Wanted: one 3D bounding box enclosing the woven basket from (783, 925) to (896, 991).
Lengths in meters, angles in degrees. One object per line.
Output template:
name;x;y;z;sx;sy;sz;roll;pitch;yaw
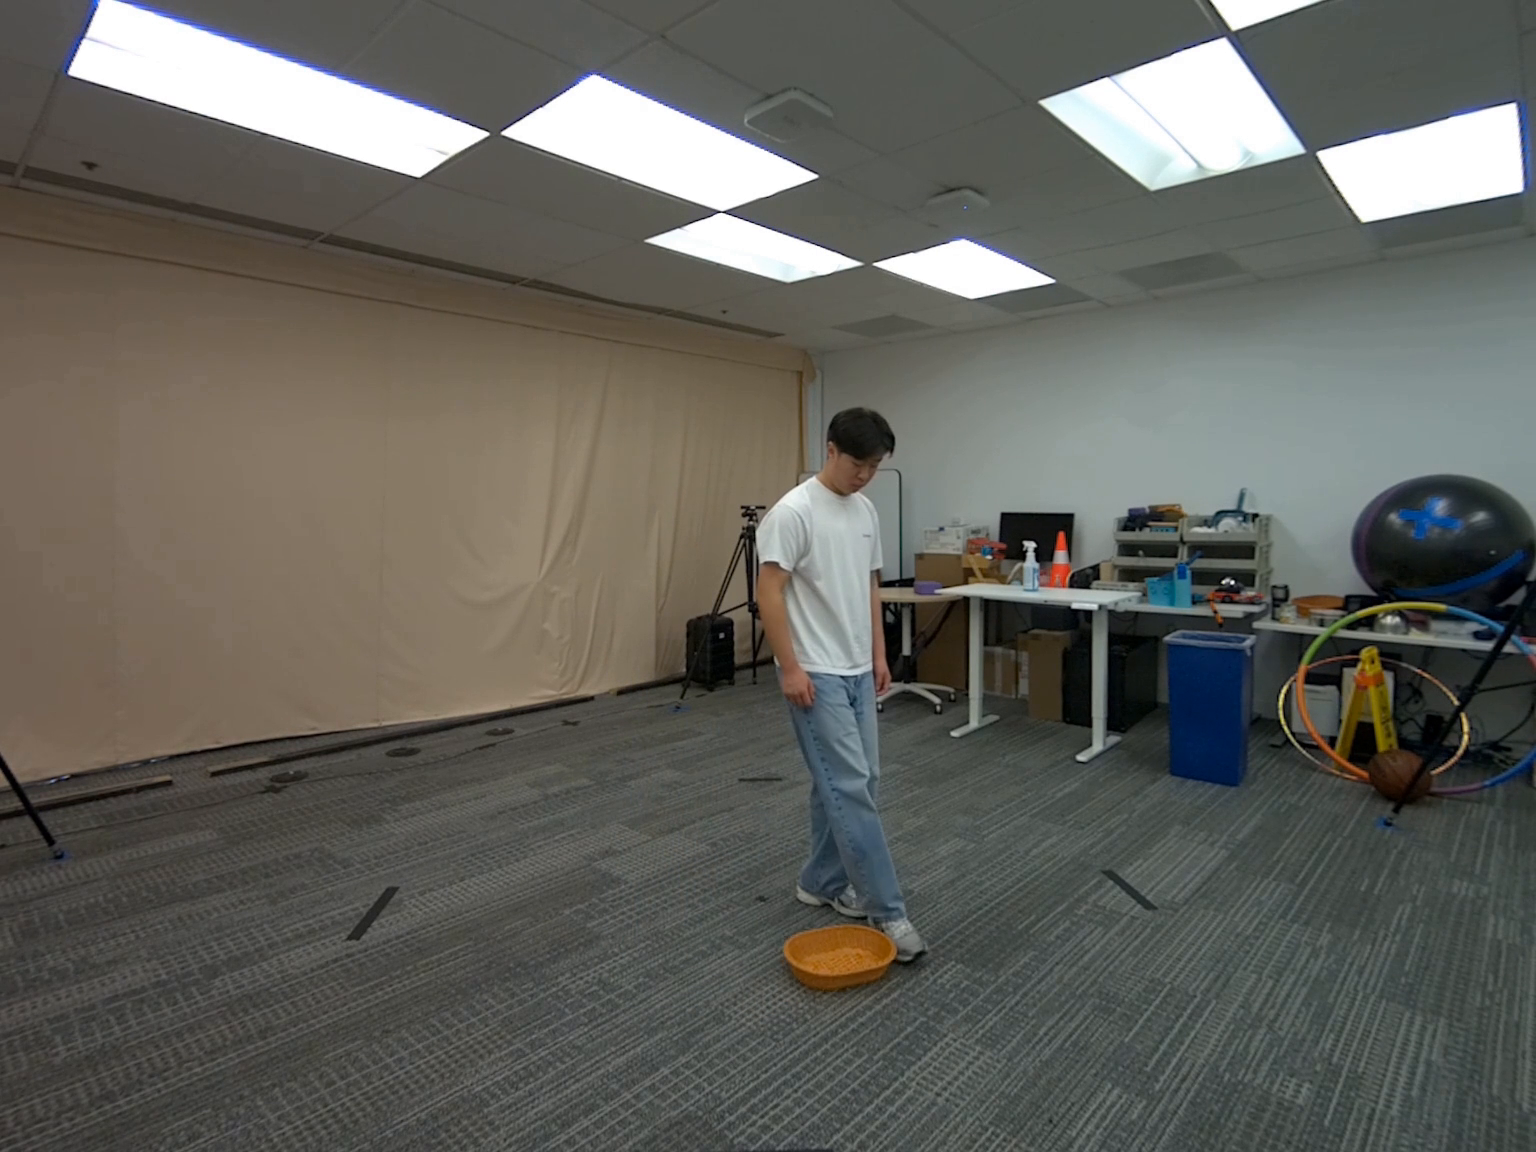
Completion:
woven basket;0.212;1.139;2.516;0.344;0.073;0.258;-1;5;-19
